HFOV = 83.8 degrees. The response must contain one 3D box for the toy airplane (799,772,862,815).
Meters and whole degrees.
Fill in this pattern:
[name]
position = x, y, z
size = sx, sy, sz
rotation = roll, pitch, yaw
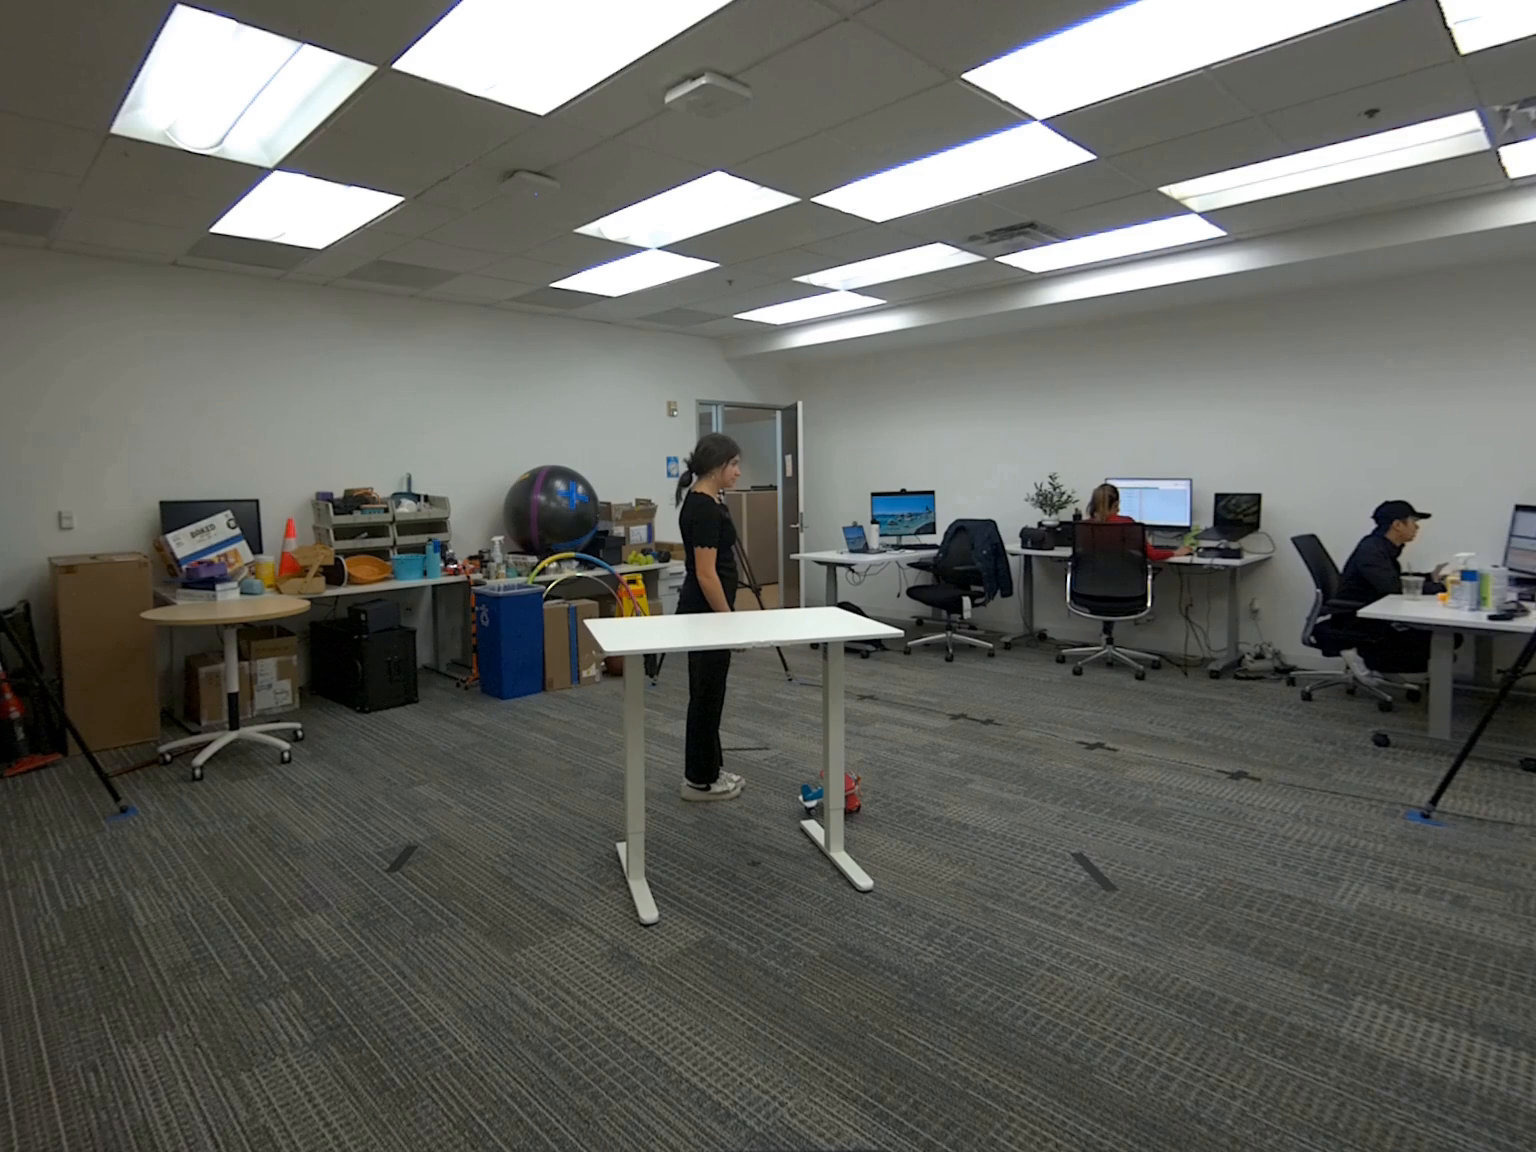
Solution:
[toy airplane]
position = 0.274, 0.913, 3.559
size = 0.252, 0.156, 0.259
rotation = -4, 5, -44
